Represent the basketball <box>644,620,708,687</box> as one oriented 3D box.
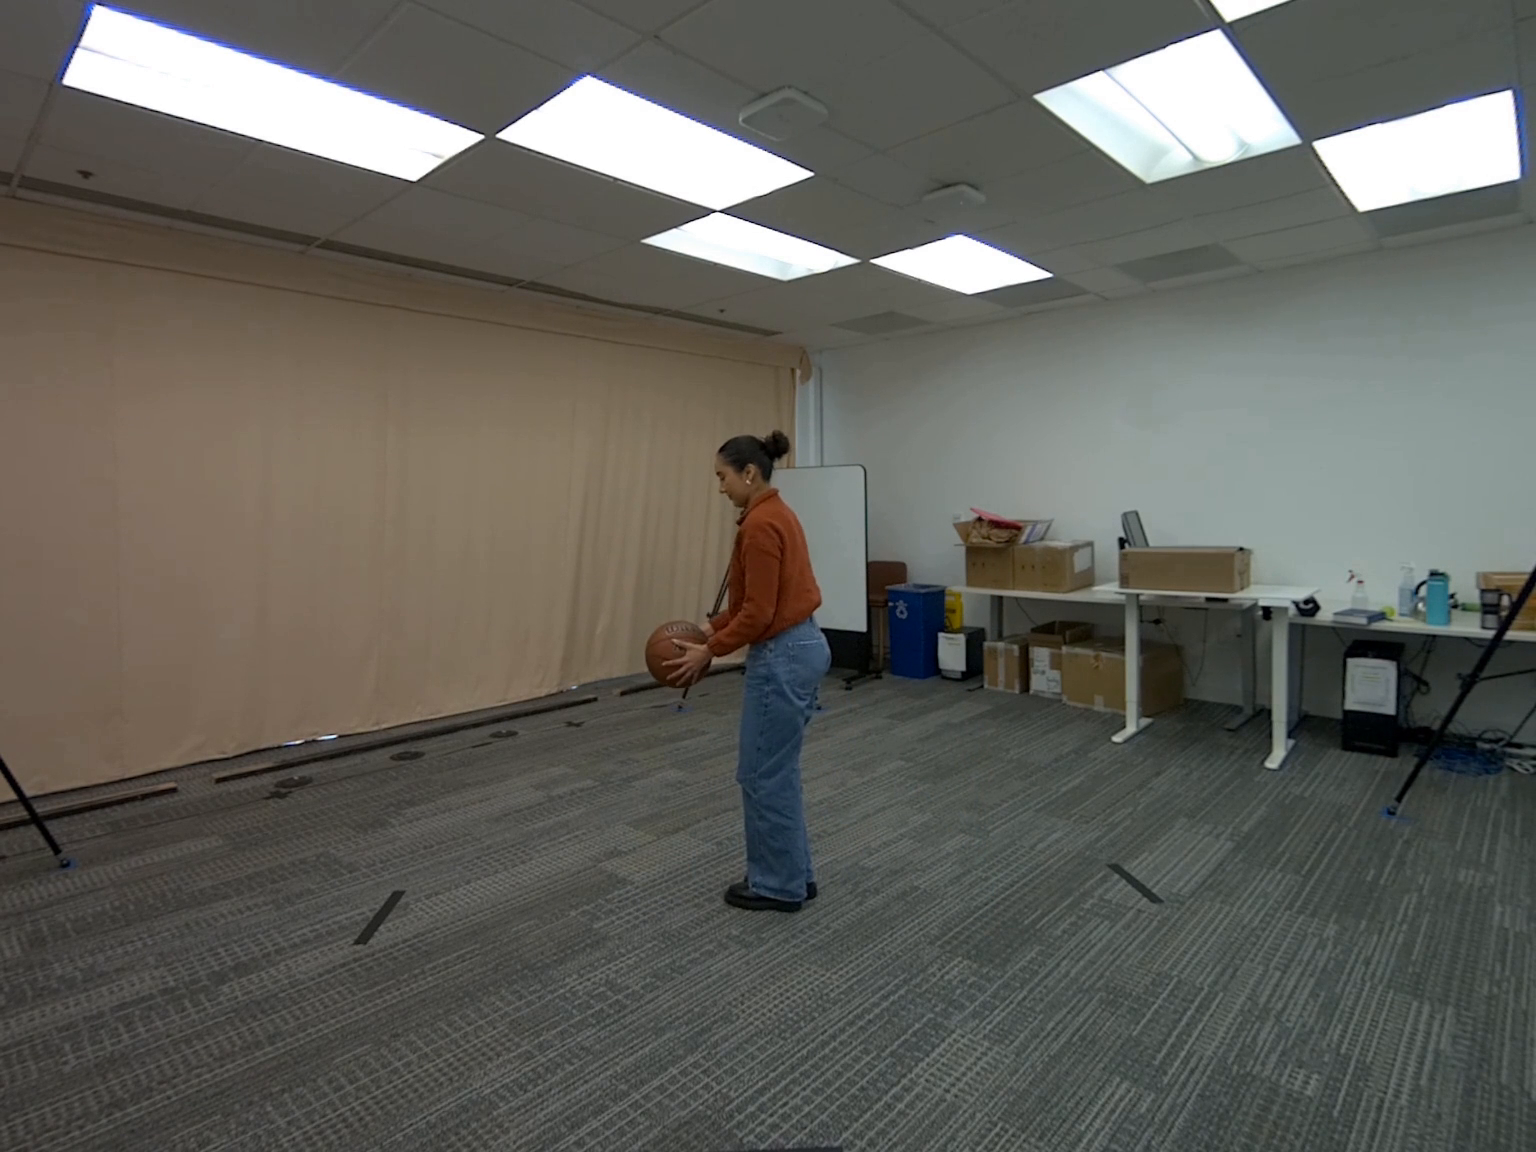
[{"bbox_3d":[-0.306,0.275,2.956,0.236,0.235,0.237,-1,4,-2],"label":"basketball"}]
